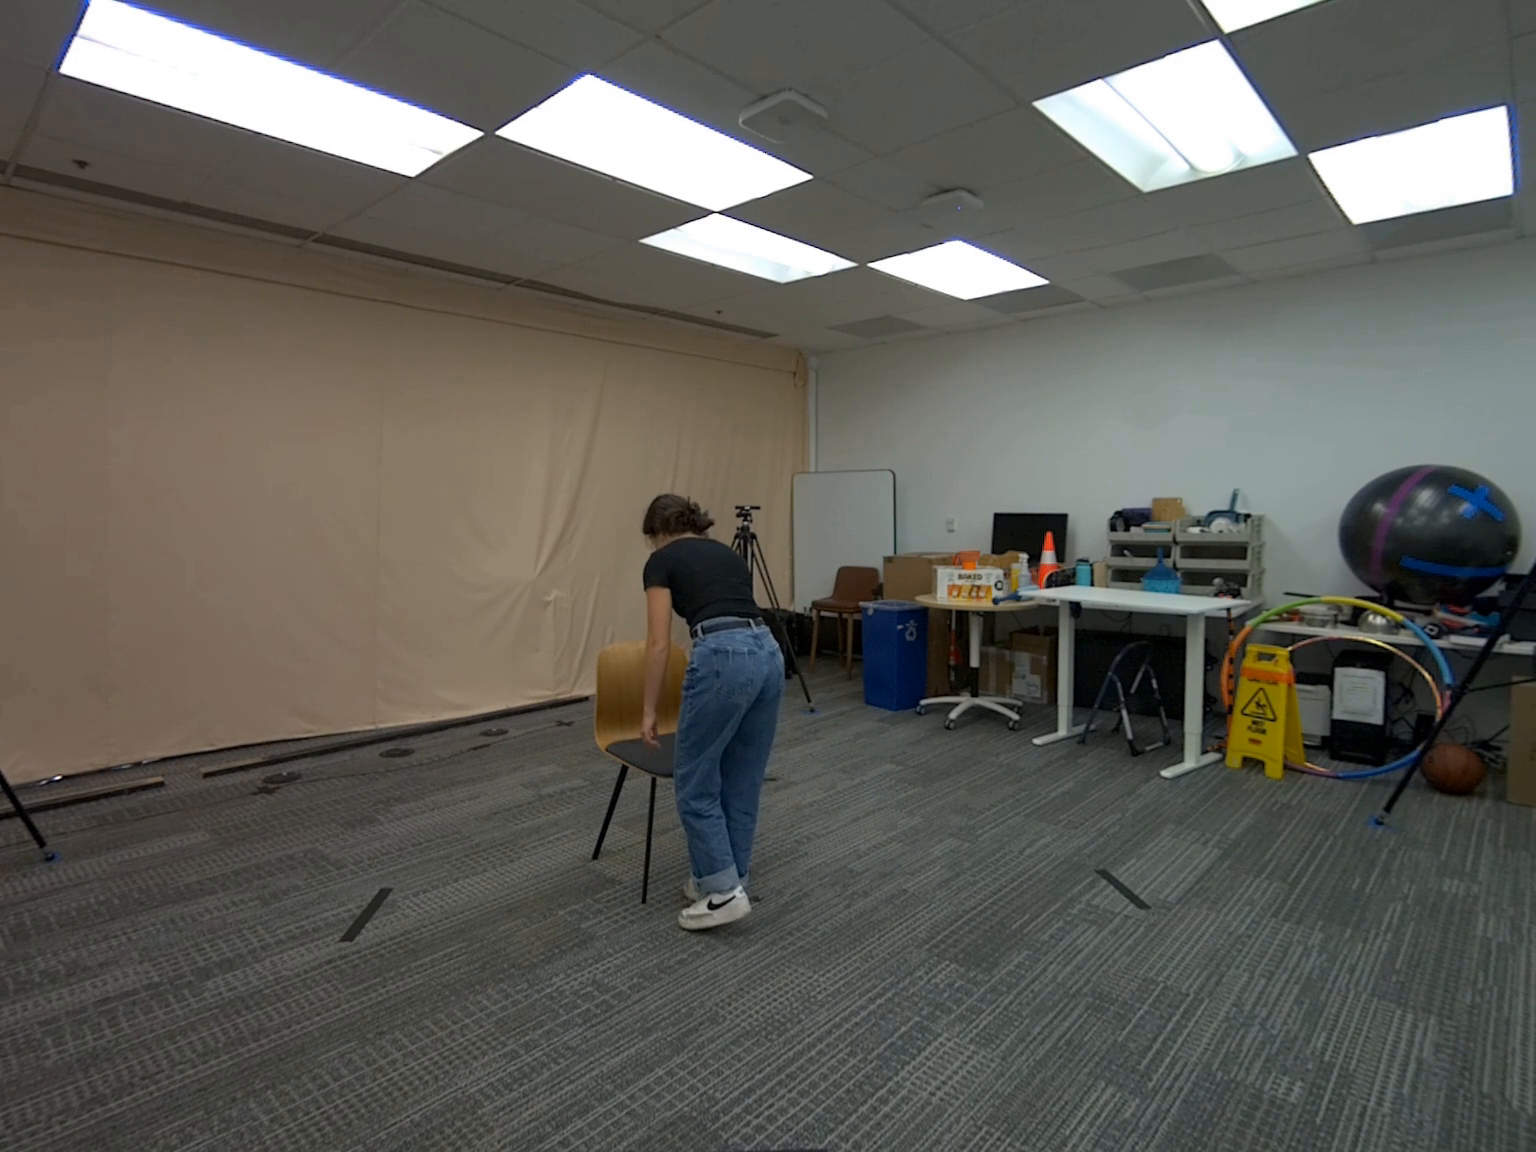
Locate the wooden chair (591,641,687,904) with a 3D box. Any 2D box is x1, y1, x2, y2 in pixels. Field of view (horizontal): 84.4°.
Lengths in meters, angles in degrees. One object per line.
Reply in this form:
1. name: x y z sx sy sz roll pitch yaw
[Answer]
1. wooden chair: -0.379 0.699 3.224 0.464 0.878 0.538 -2 0 -34
